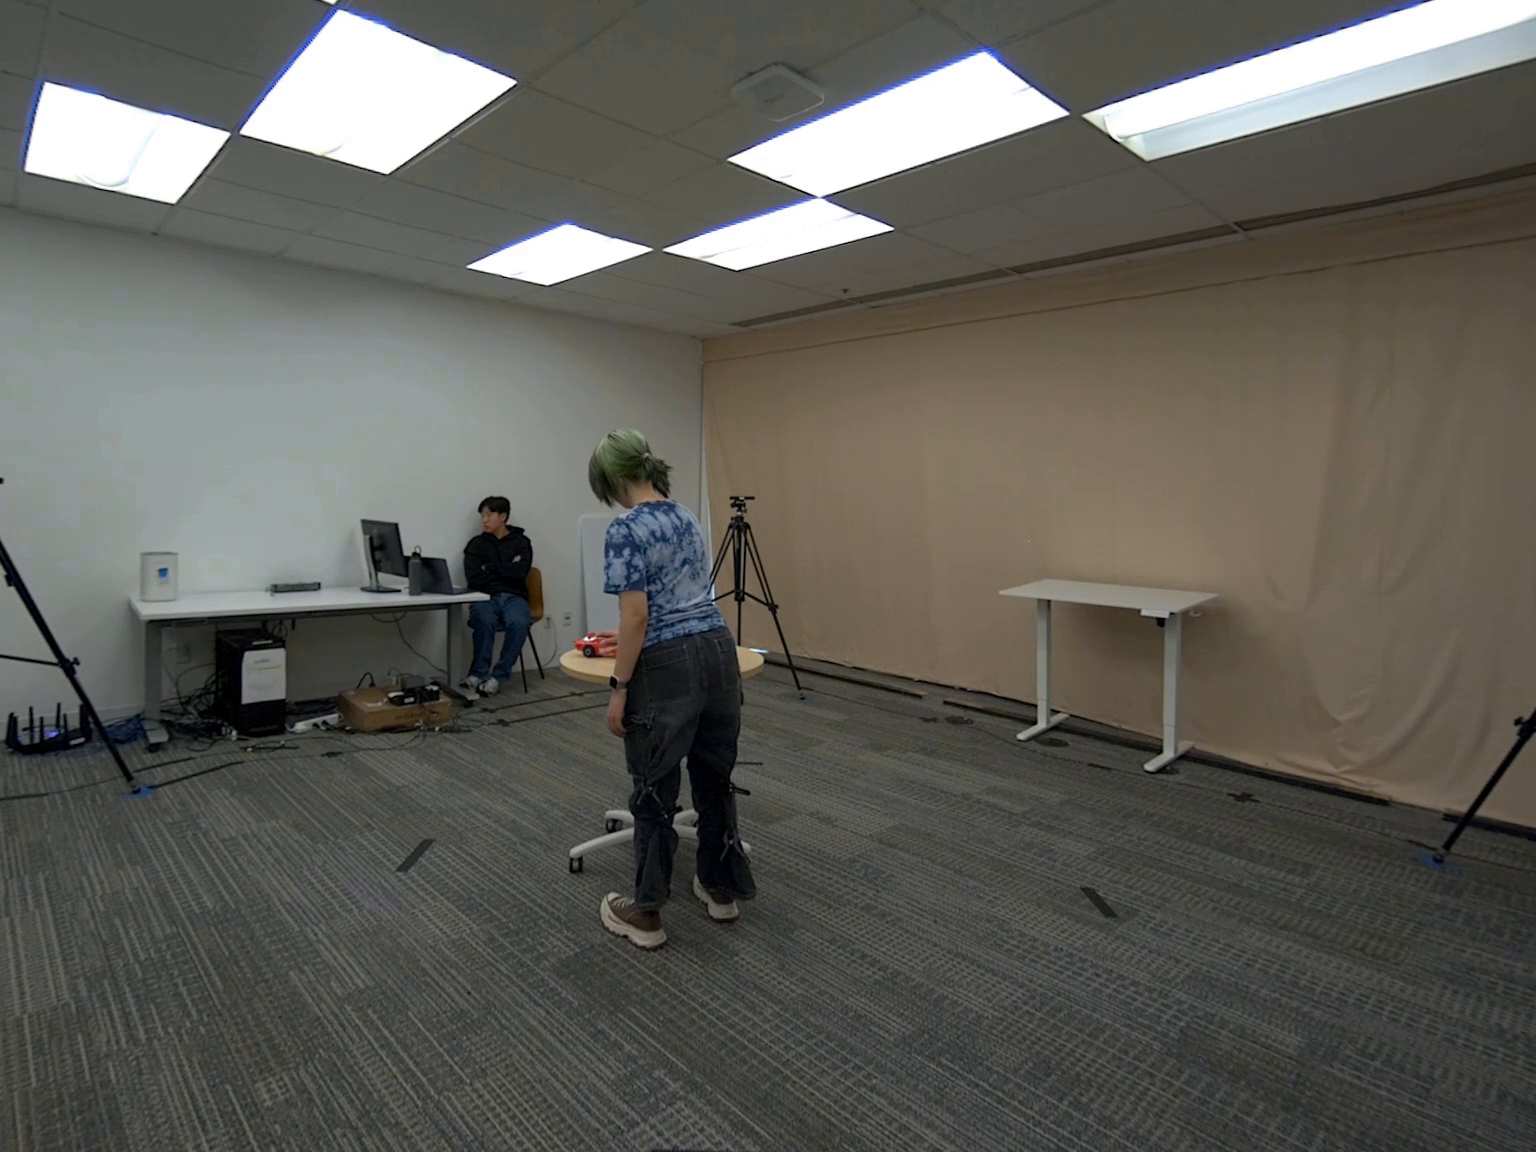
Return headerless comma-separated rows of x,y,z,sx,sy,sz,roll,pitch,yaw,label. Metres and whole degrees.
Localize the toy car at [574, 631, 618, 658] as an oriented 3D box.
-0.623,0.273,3.186,0.257,0.083,0.129,14,8,11,toy car
